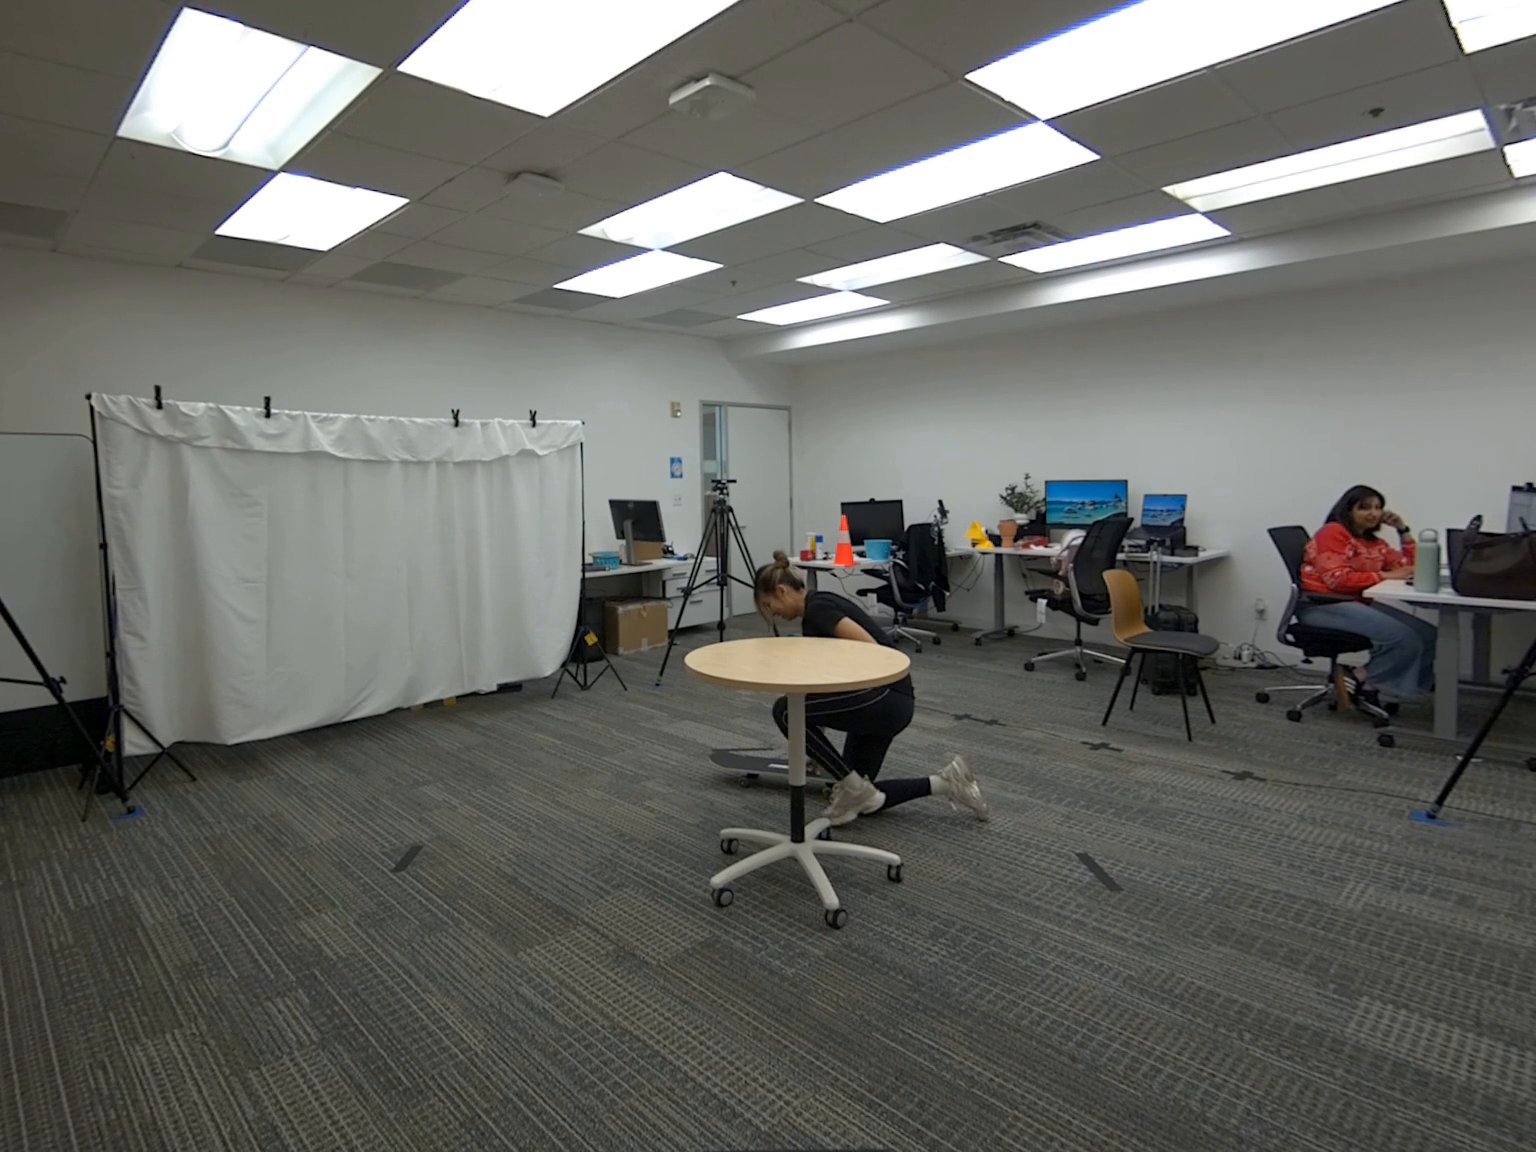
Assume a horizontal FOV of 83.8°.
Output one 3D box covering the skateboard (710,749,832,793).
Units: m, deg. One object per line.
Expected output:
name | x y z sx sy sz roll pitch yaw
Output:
skateboard | 0.100 0.906 3.888 0.801 0.110 0.191 3 7 20
